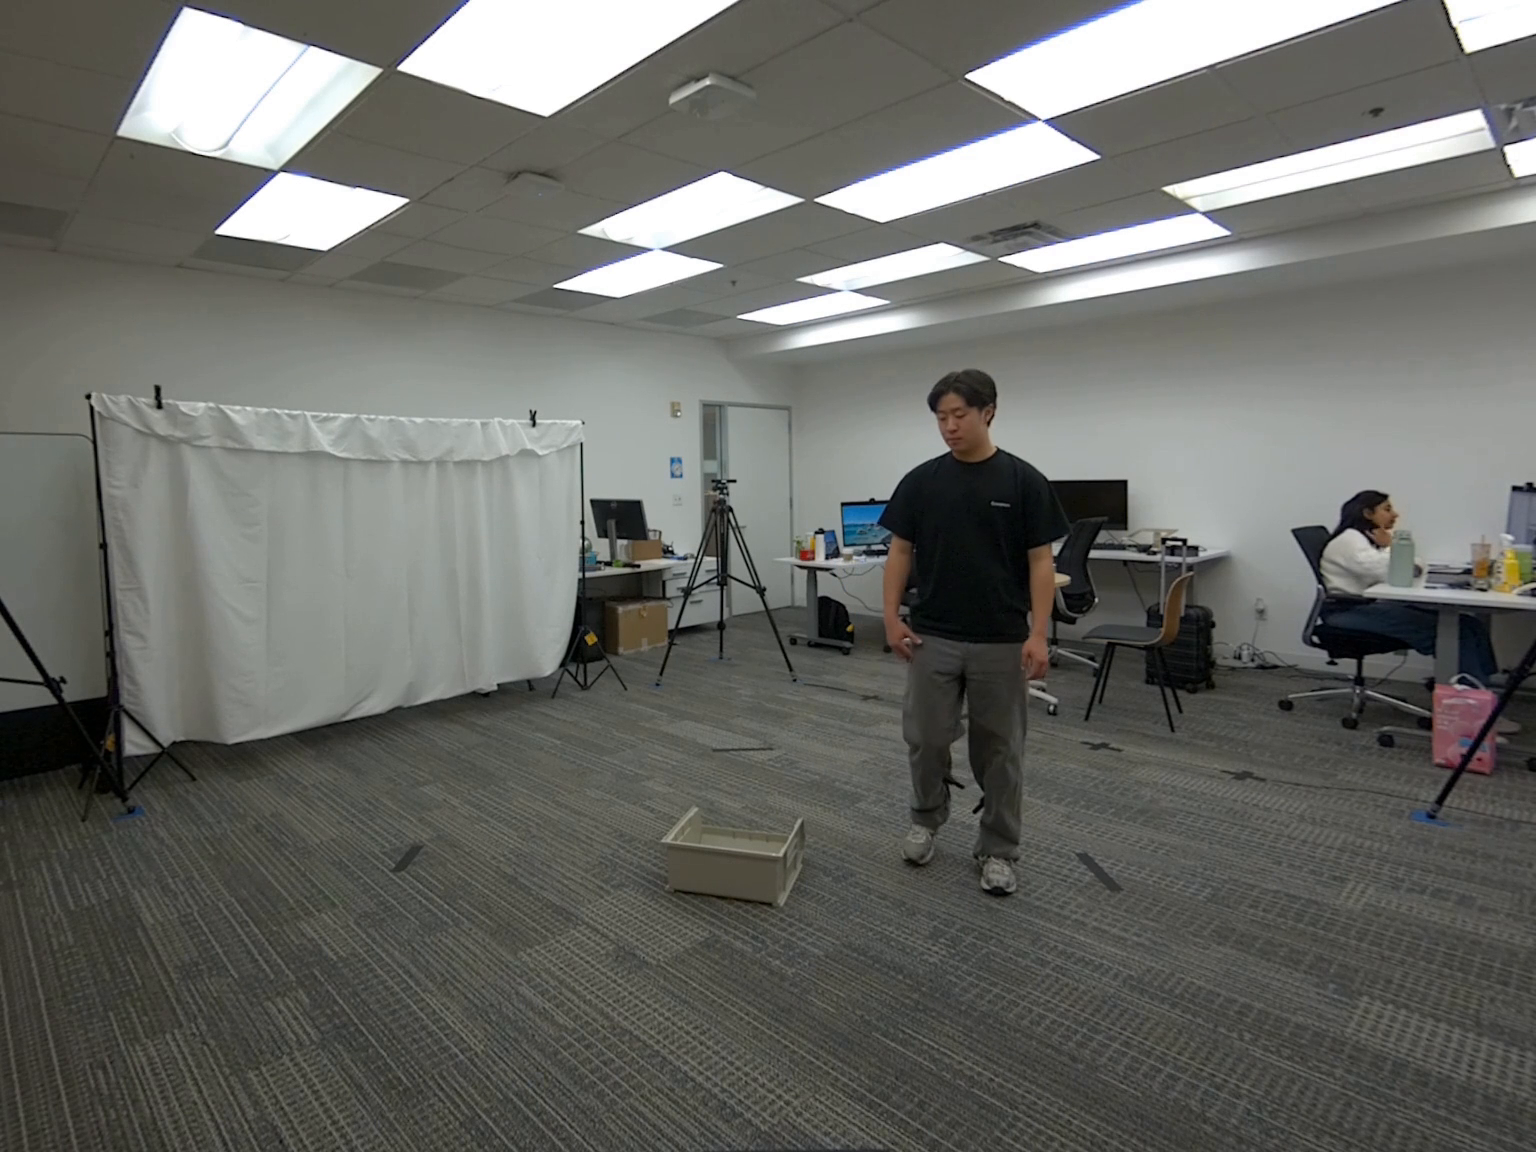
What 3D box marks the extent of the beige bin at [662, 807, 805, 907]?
[{"bbox_3d":[-0.107,0.969,3.011,0.429,0.188,0.373,2,7,16],"label":"beige bin"}]
